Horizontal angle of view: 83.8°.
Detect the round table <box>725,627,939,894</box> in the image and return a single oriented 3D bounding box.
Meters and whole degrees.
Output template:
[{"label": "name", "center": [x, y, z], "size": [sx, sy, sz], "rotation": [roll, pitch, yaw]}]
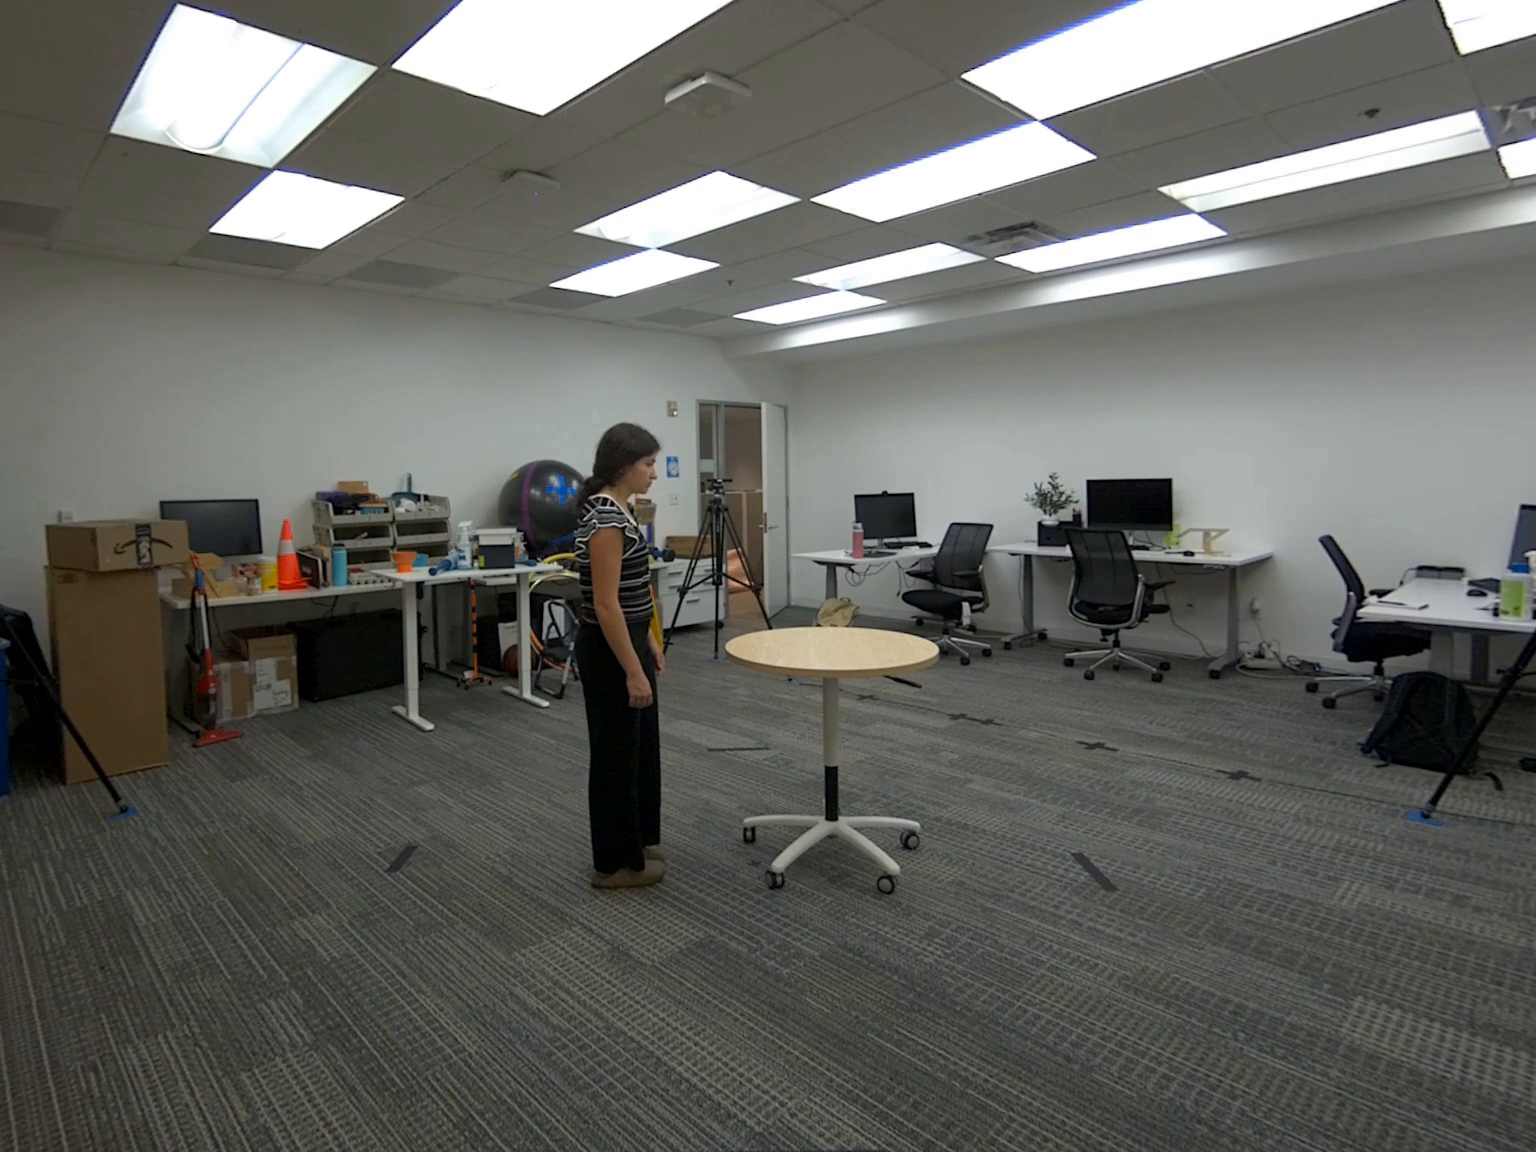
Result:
[{"label": "round table", "center": [0.215, 0.638, 3.144], "size": [0.784, 0.783, 0.789], "rotation": [-1, 5, -2]}]
